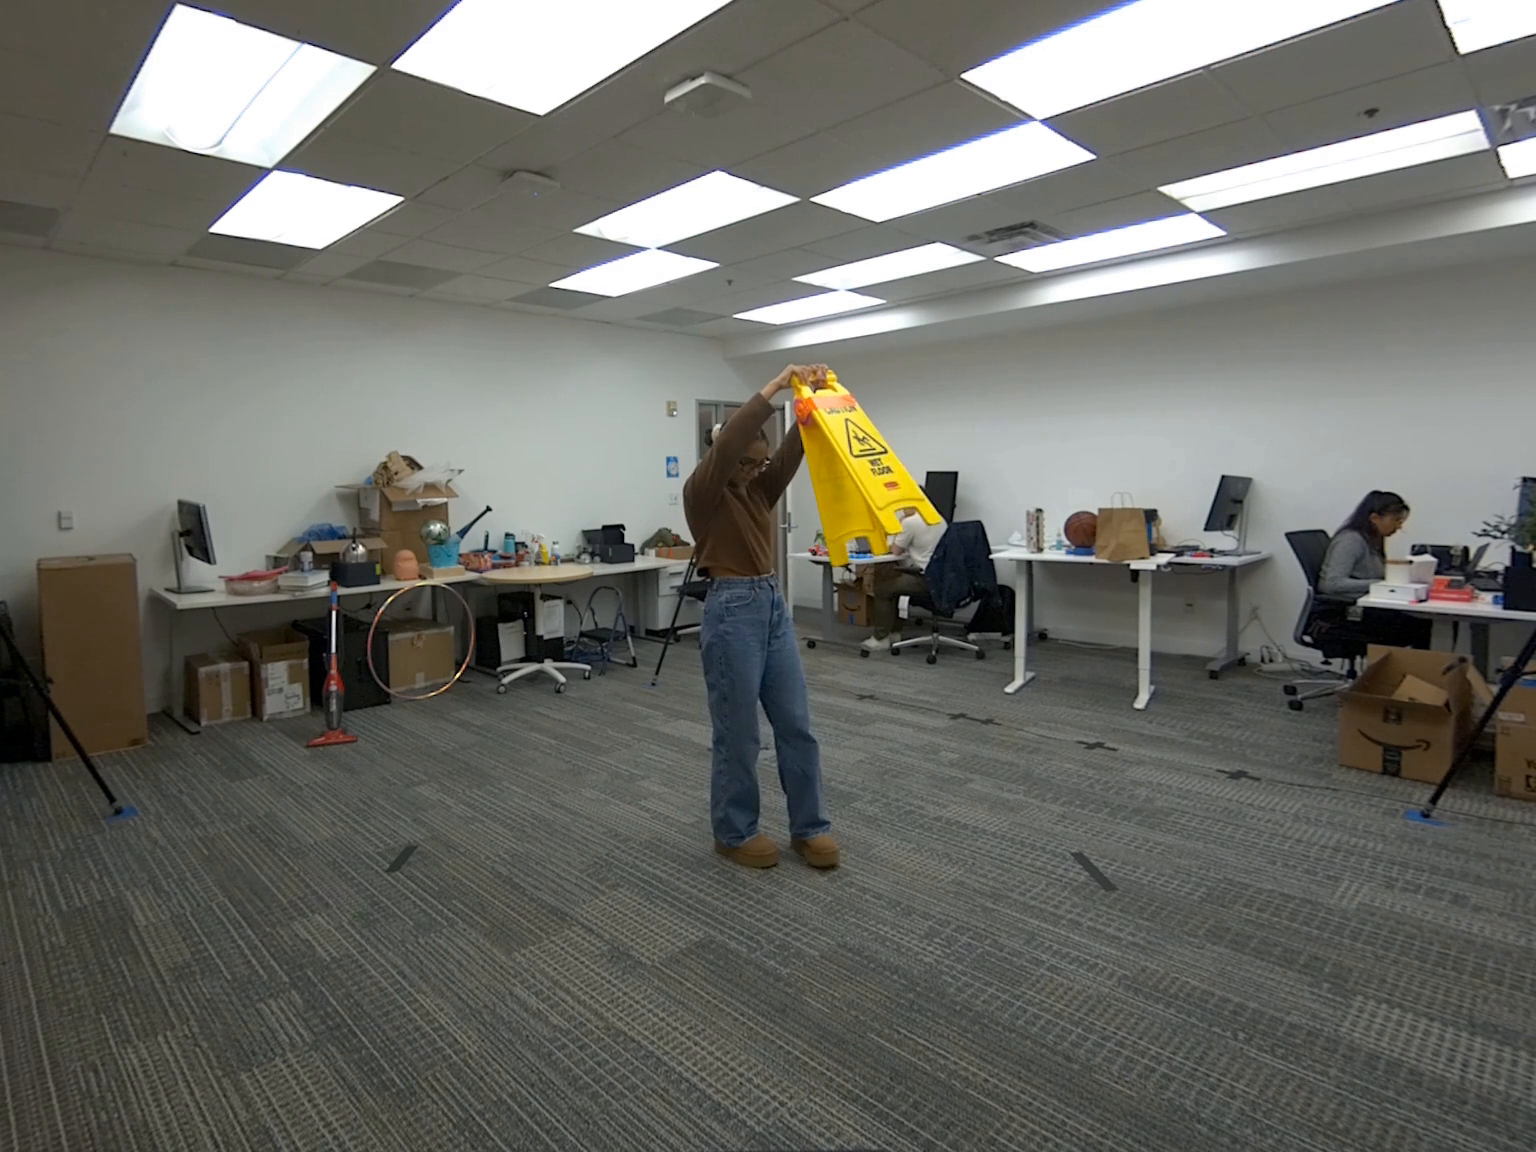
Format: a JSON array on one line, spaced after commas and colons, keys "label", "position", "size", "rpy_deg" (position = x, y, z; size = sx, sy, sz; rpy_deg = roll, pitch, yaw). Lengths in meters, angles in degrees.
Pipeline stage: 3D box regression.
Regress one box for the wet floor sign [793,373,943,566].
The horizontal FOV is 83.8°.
[{"label": "wet floor sign", "position": [0.269, -0.400, 2.836], "size": [0.276, 0.655, 0.292], "rpy_deg": [-12, -14, -40]}]
